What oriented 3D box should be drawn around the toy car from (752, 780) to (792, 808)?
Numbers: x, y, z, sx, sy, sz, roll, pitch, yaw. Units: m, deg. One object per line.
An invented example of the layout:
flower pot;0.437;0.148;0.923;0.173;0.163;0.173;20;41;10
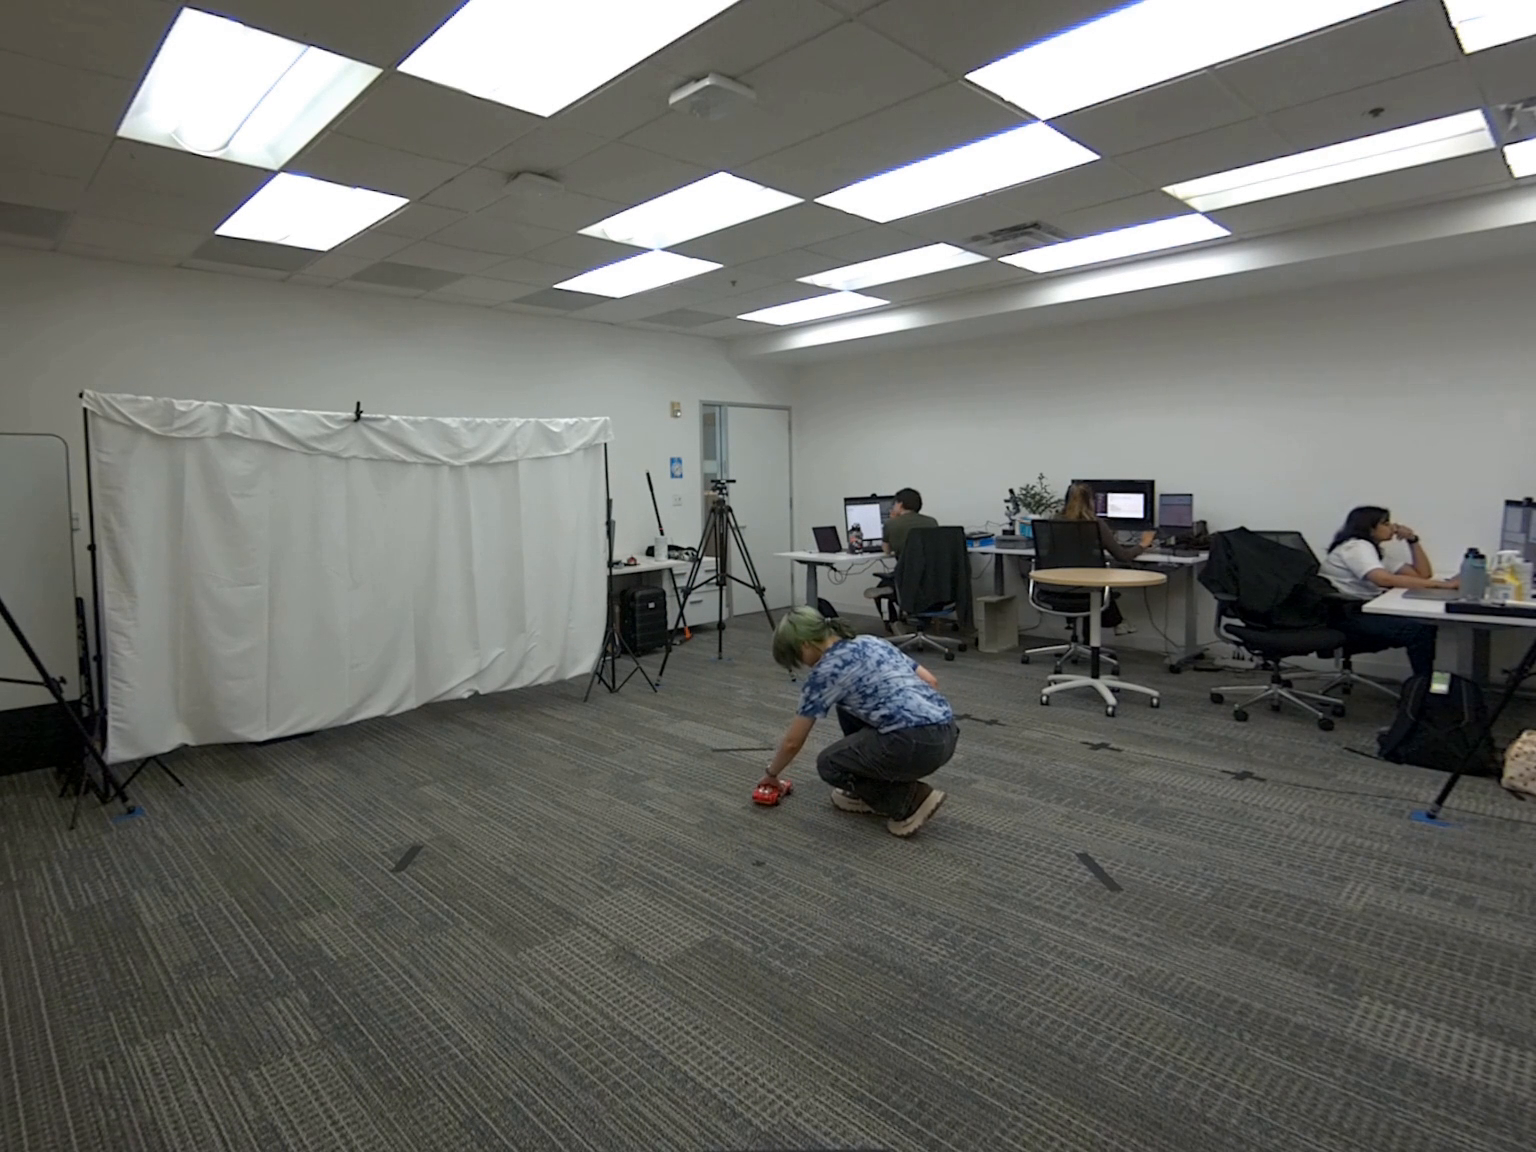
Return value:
toy car;0.021;0.948;3.735;0.133;0.083;0.248;2;-4;24
